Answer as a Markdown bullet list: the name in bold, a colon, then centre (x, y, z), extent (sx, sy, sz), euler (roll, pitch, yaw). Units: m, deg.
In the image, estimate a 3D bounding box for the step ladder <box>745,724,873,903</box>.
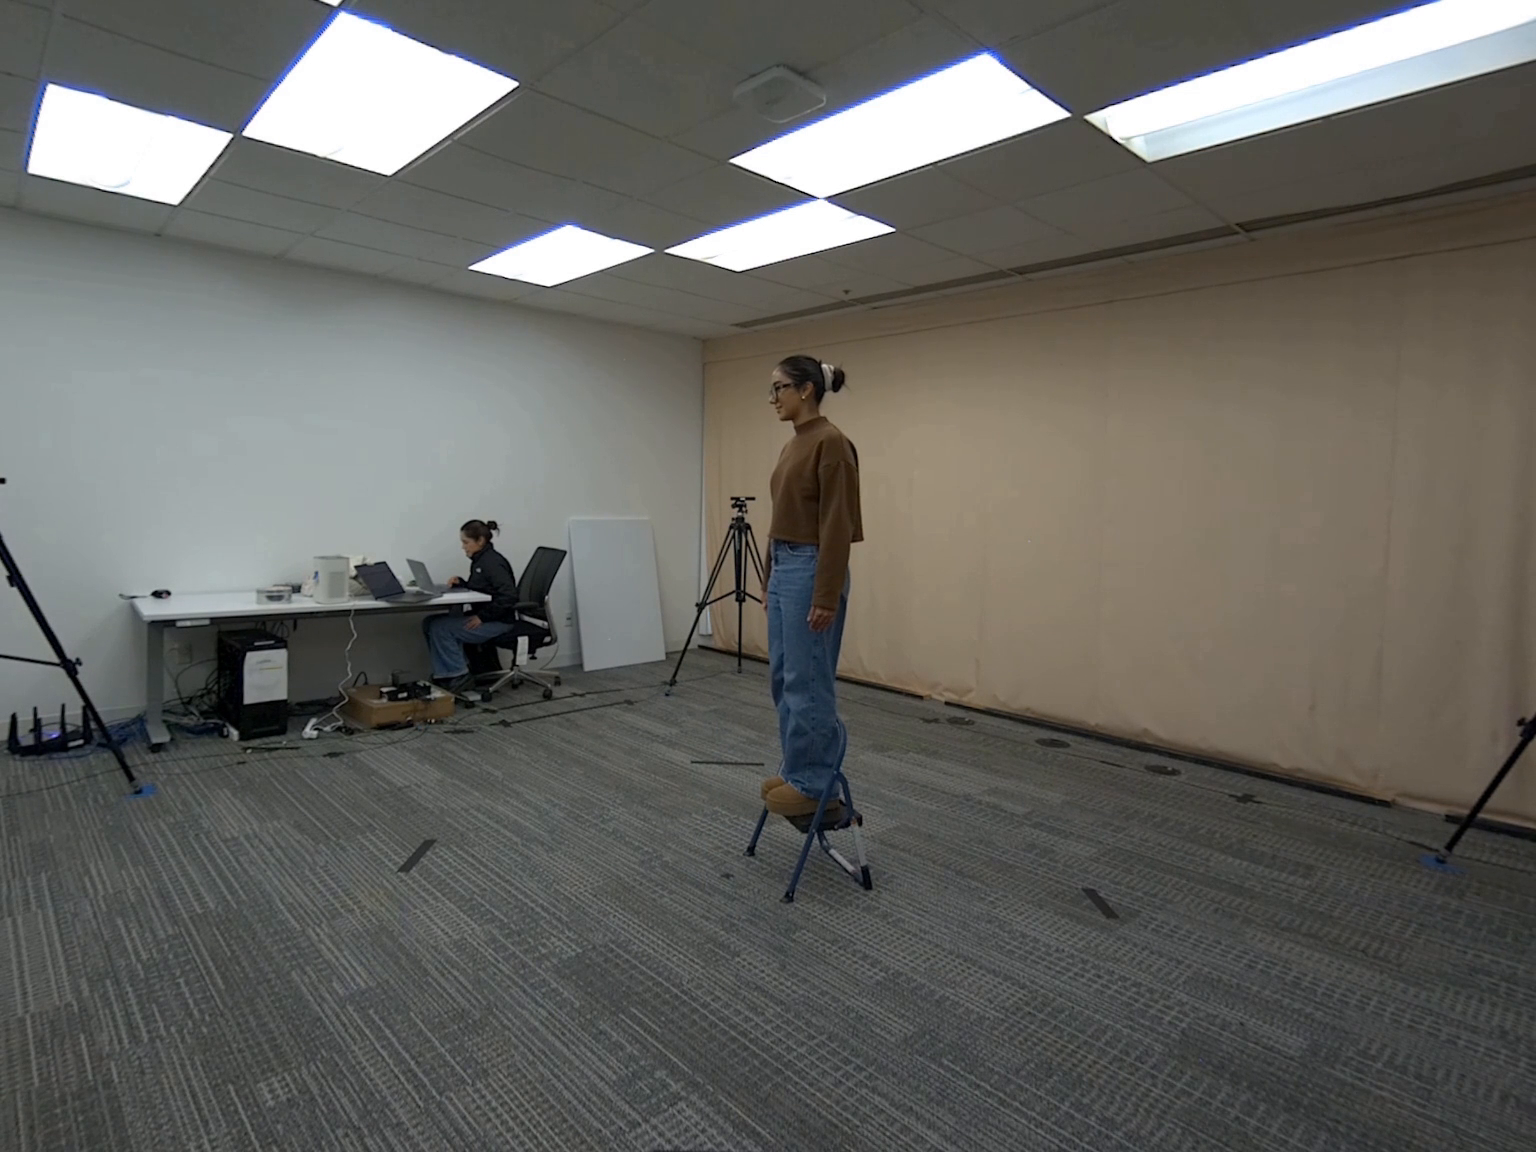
- **step ladder**: centre (0.147, 0.812, 3.140), extent (0.344, 0.605, 0.438), euler (0, 4, -21)
